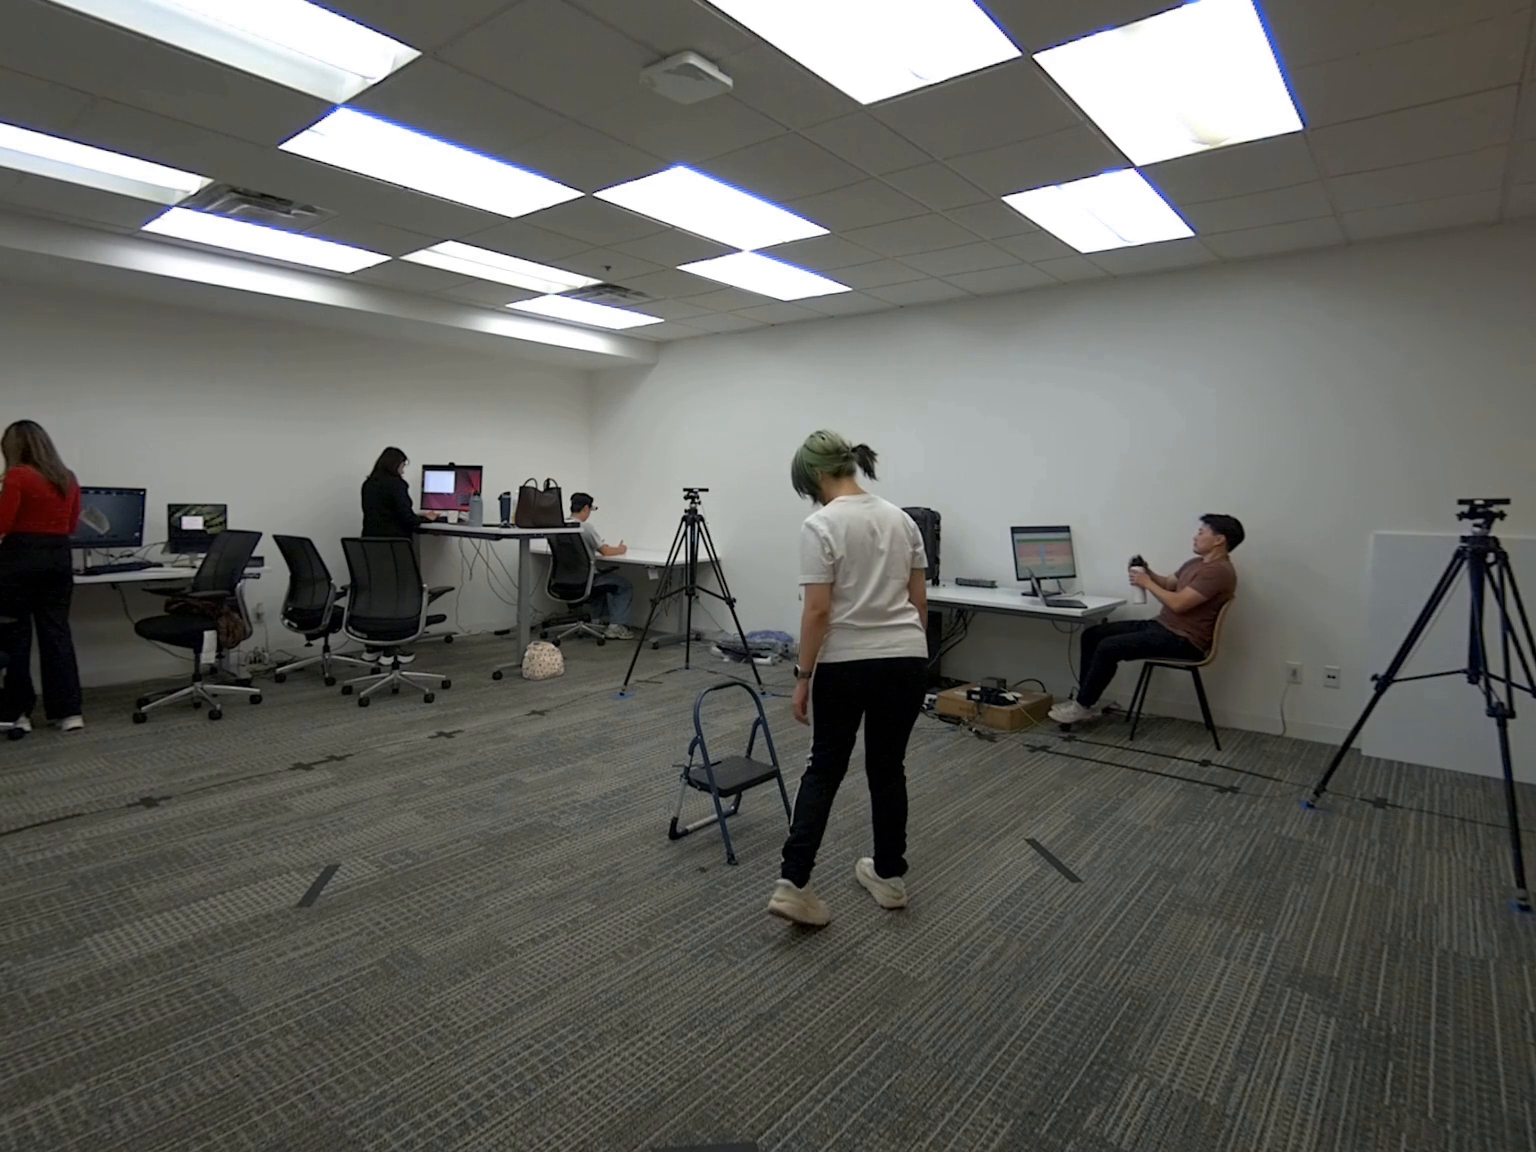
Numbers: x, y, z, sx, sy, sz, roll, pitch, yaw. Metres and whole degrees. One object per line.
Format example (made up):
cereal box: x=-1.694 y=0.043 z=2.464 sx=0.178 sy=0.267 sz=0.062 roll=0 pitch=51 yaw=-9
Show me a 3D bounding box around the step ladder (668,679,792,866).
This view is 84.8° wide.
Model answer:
step ladder: x=-0.140 y=0.739 z=3.398 sx=0.361 sy=0.604 sz=0.418 roll=4 pitch=4 yaw=38
